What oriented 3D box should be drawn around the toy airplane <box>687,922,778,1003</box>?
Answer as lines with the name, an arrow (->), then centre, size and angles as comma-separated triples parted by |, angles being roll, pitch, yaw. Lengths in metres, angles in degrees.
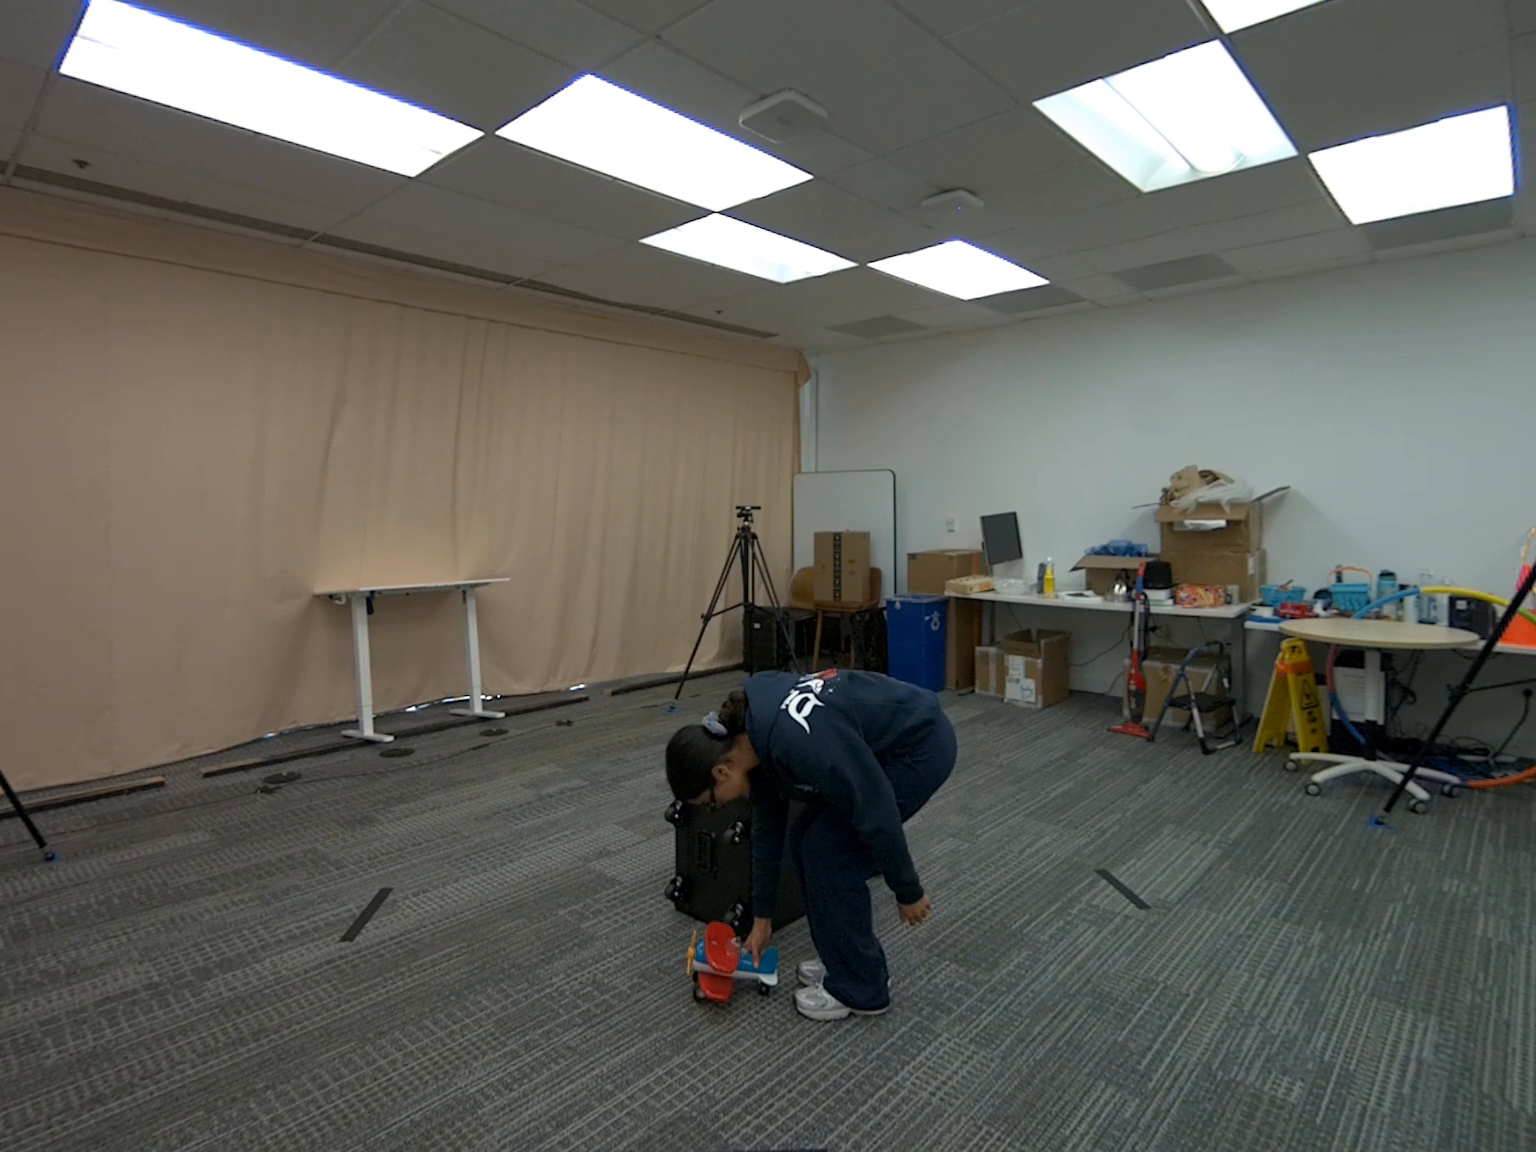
toy airplane -> -0.093, 1.118, 2.427 | 0.253, 0.156, 0.257 | 1, 1, -23
